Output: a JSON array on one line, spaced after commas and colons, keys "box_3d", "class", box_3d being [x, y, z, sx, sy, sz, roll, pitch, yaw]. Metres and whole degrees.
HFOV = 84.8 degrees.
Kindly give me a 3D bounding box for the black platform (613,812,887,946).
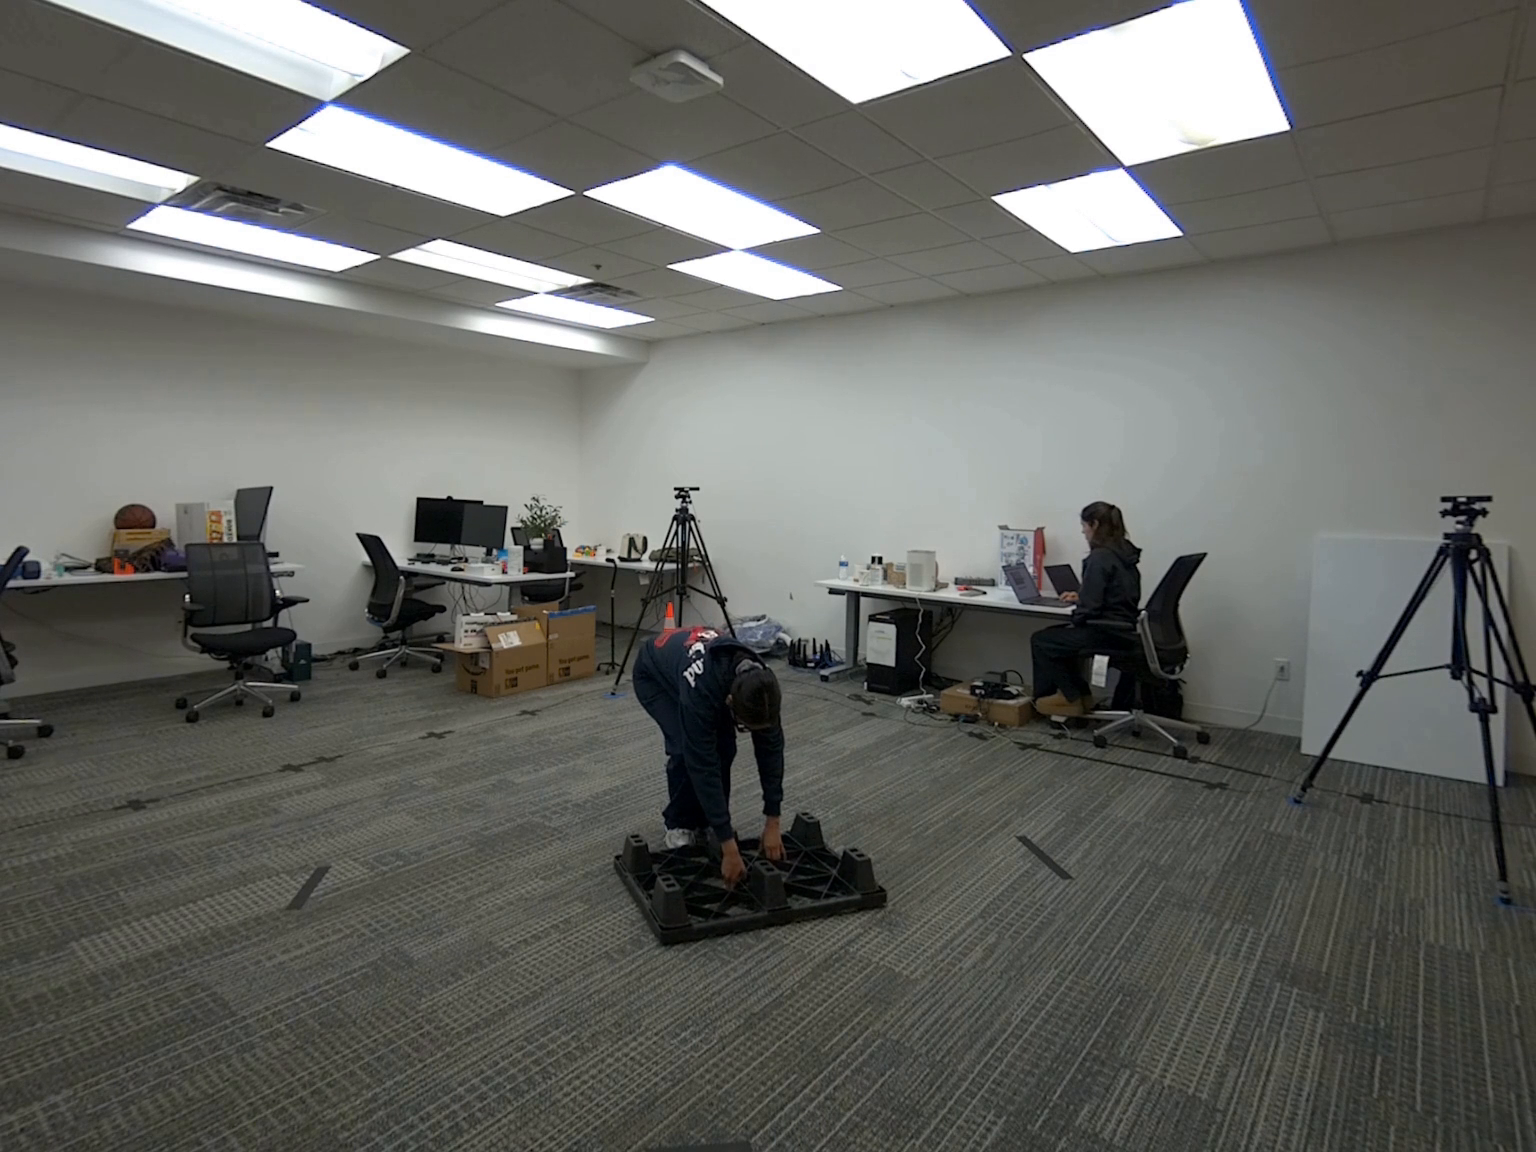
[{"box_3d": [-0.087, 1.008, 2.980, 0.788, 0.143, 0.621, -1, 5, -23], "class": "black platform"}]
